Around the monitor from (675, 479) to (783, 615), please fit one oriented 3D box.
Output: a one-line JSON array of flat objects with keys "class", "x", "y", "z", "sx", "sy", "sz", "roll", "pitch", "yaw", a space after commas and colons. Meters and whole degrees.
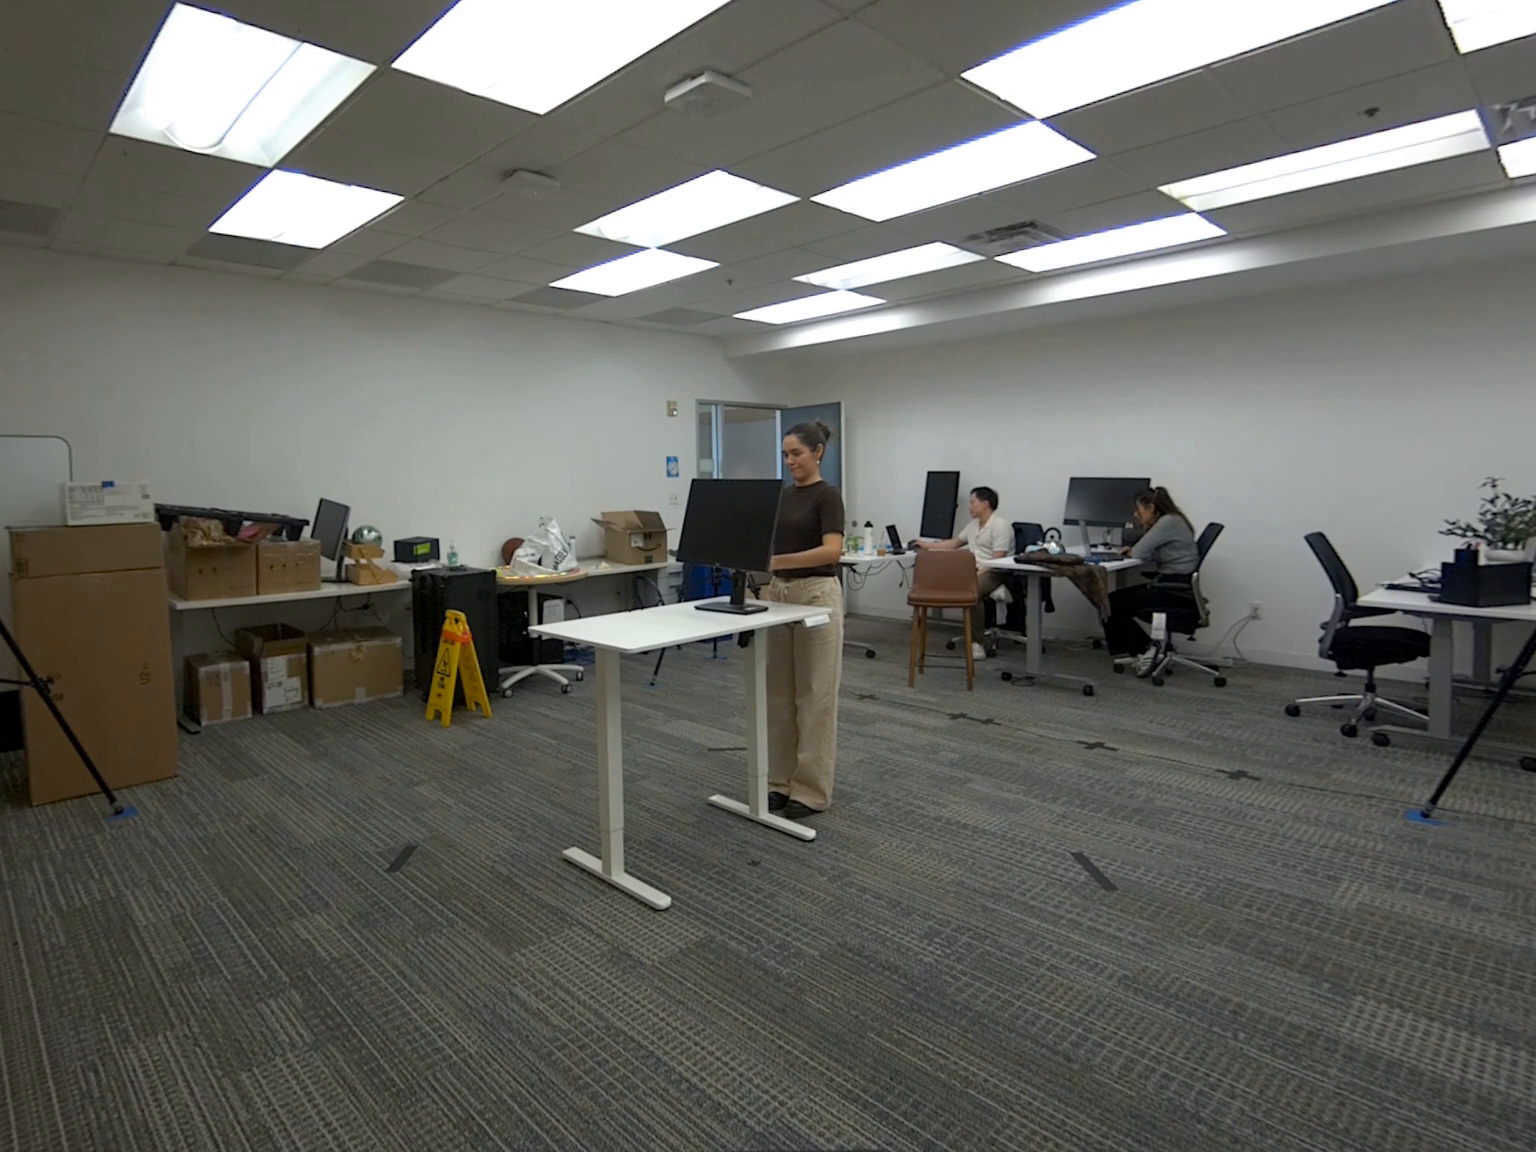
[{"class": "monitor", "x": -0.139, "y": -0.120, "z": 3.359, "sx": 0.182, "sy": 0.521, "sz": 0.556, "roll": -3, "pitch": 6, "yaw": -45}]
